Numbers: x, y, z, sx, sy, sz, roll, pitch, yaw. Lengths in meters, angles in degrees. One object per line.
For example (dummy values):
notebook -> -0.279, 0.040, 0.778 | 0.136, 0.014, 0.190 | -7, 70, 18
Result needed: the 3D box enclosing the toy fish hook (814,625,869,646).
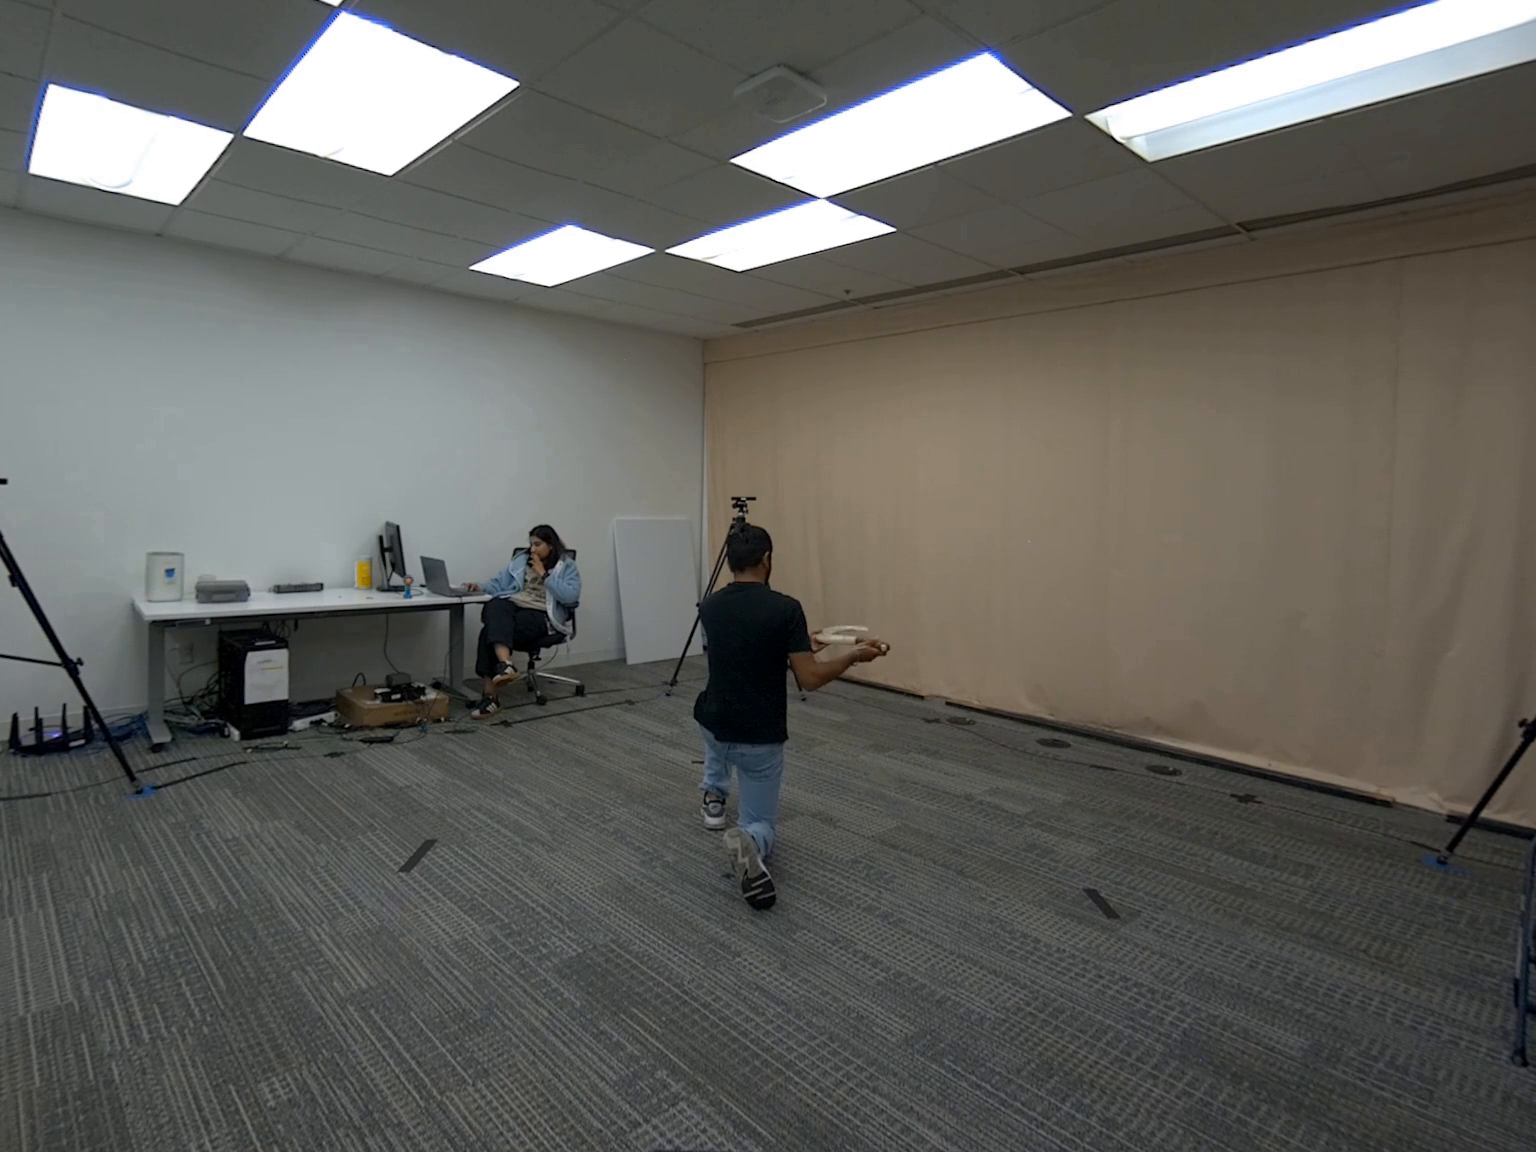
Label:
toy fish hook -> 0.368, 0.258, 3.597 | 0.222, 0.048, 0.518 | -19, 13, -28
